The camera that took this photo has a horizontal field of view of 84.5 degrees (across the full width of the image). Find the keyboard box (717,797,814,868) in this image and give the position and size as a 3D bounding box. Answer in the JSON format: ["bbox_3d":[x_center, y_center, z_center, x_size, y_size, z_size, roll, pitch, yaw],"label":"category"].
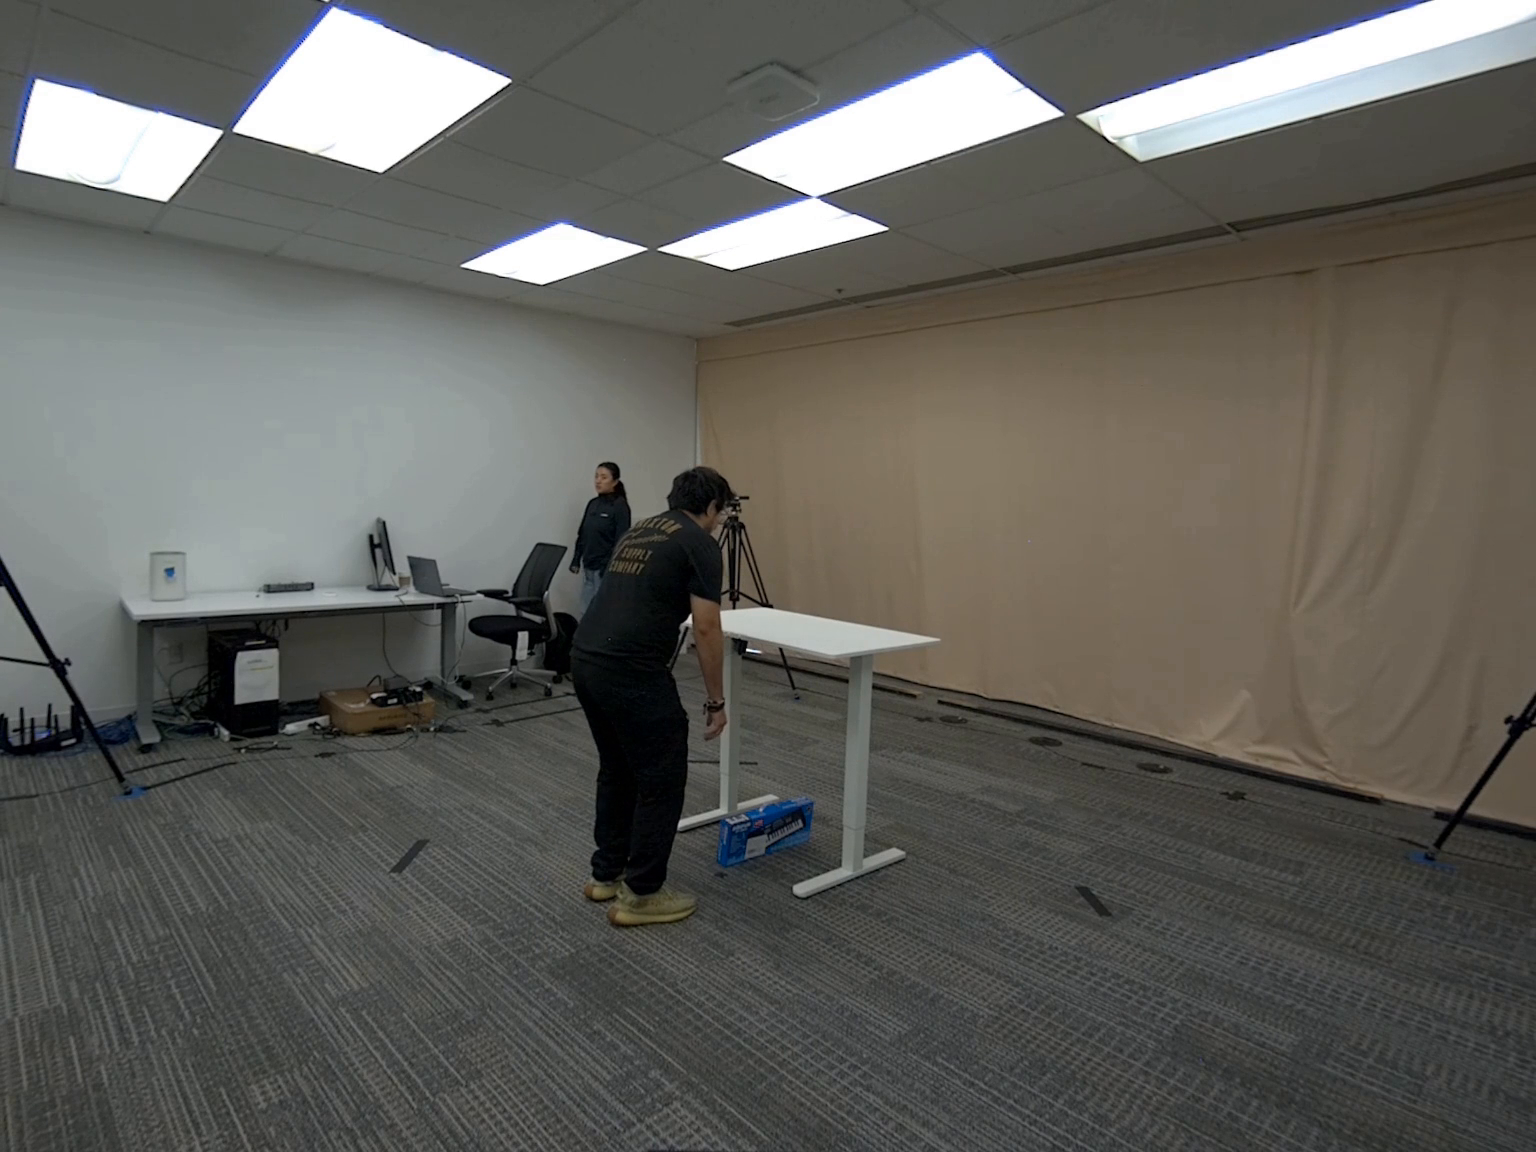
[{"bbox_3d":[-0.014,1.002,3.309,0.427,0.175,0.061,-3,12,-40],"label":"keyboard box"}]
